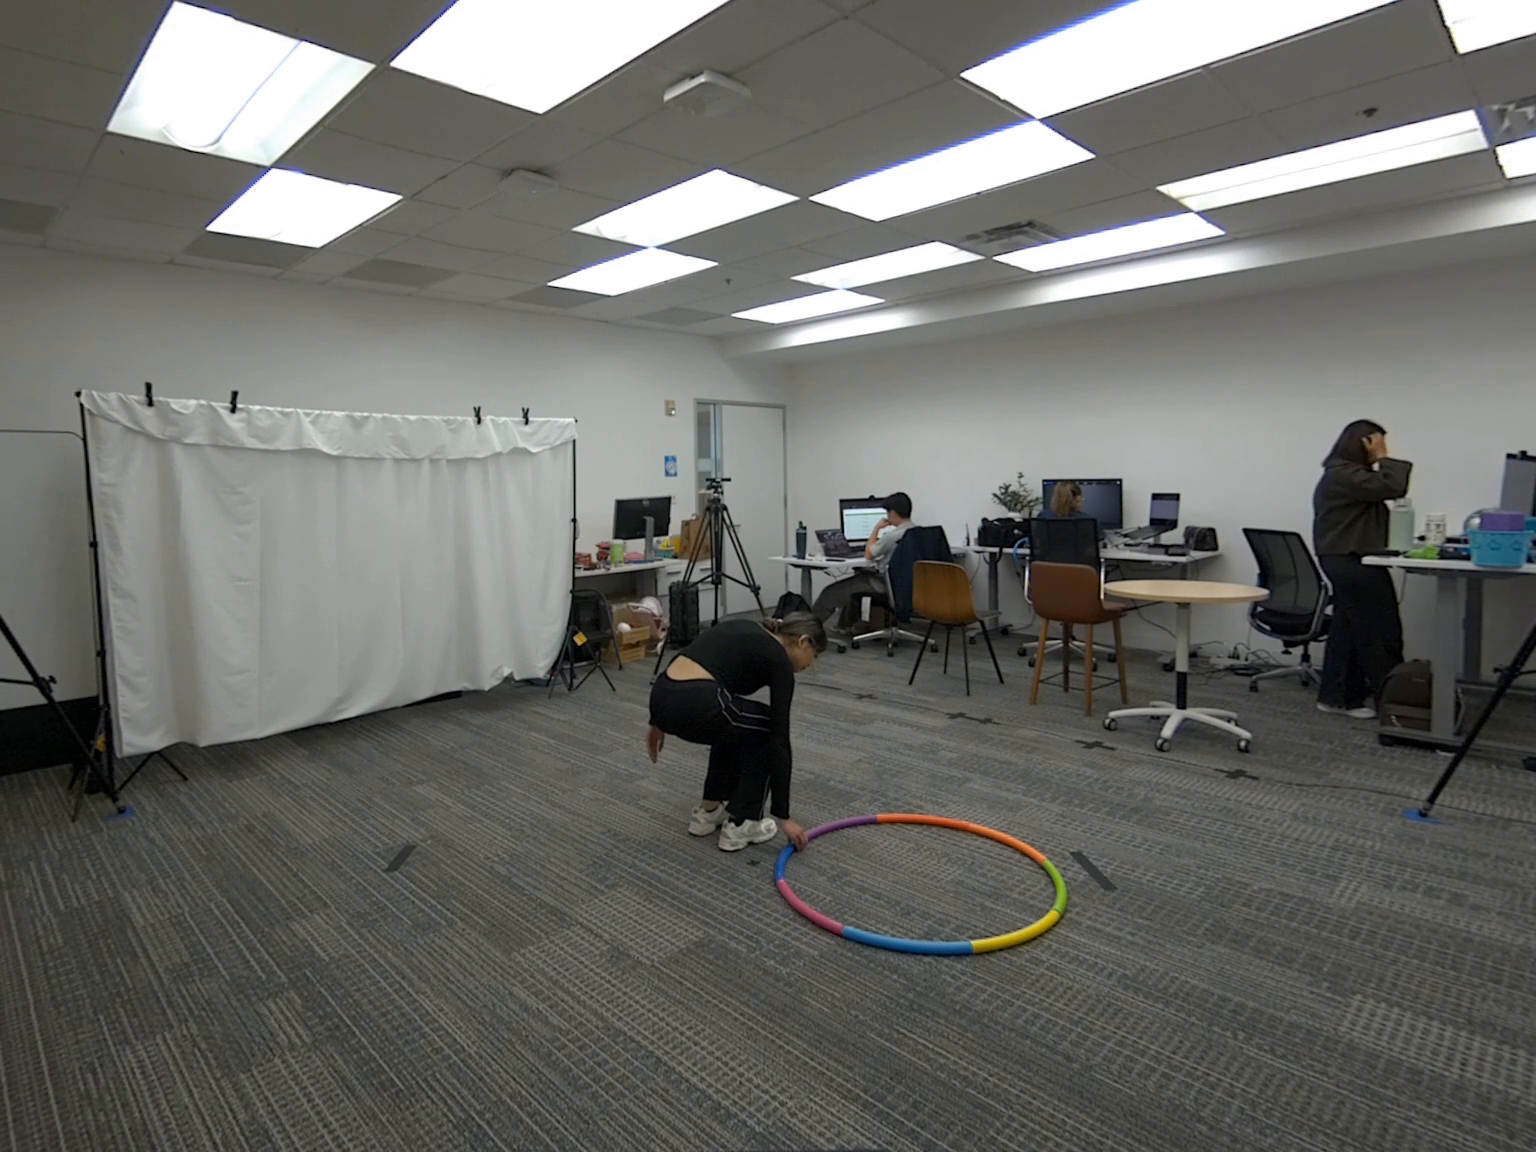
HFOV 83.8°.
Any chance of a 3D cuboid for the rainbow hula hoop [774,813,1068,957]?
[{"bbox_3d":[0.510,1.018,2.964,0.978,0.035,0.984,-2,7,-2],"label":"rainbow hula hoop"}]
